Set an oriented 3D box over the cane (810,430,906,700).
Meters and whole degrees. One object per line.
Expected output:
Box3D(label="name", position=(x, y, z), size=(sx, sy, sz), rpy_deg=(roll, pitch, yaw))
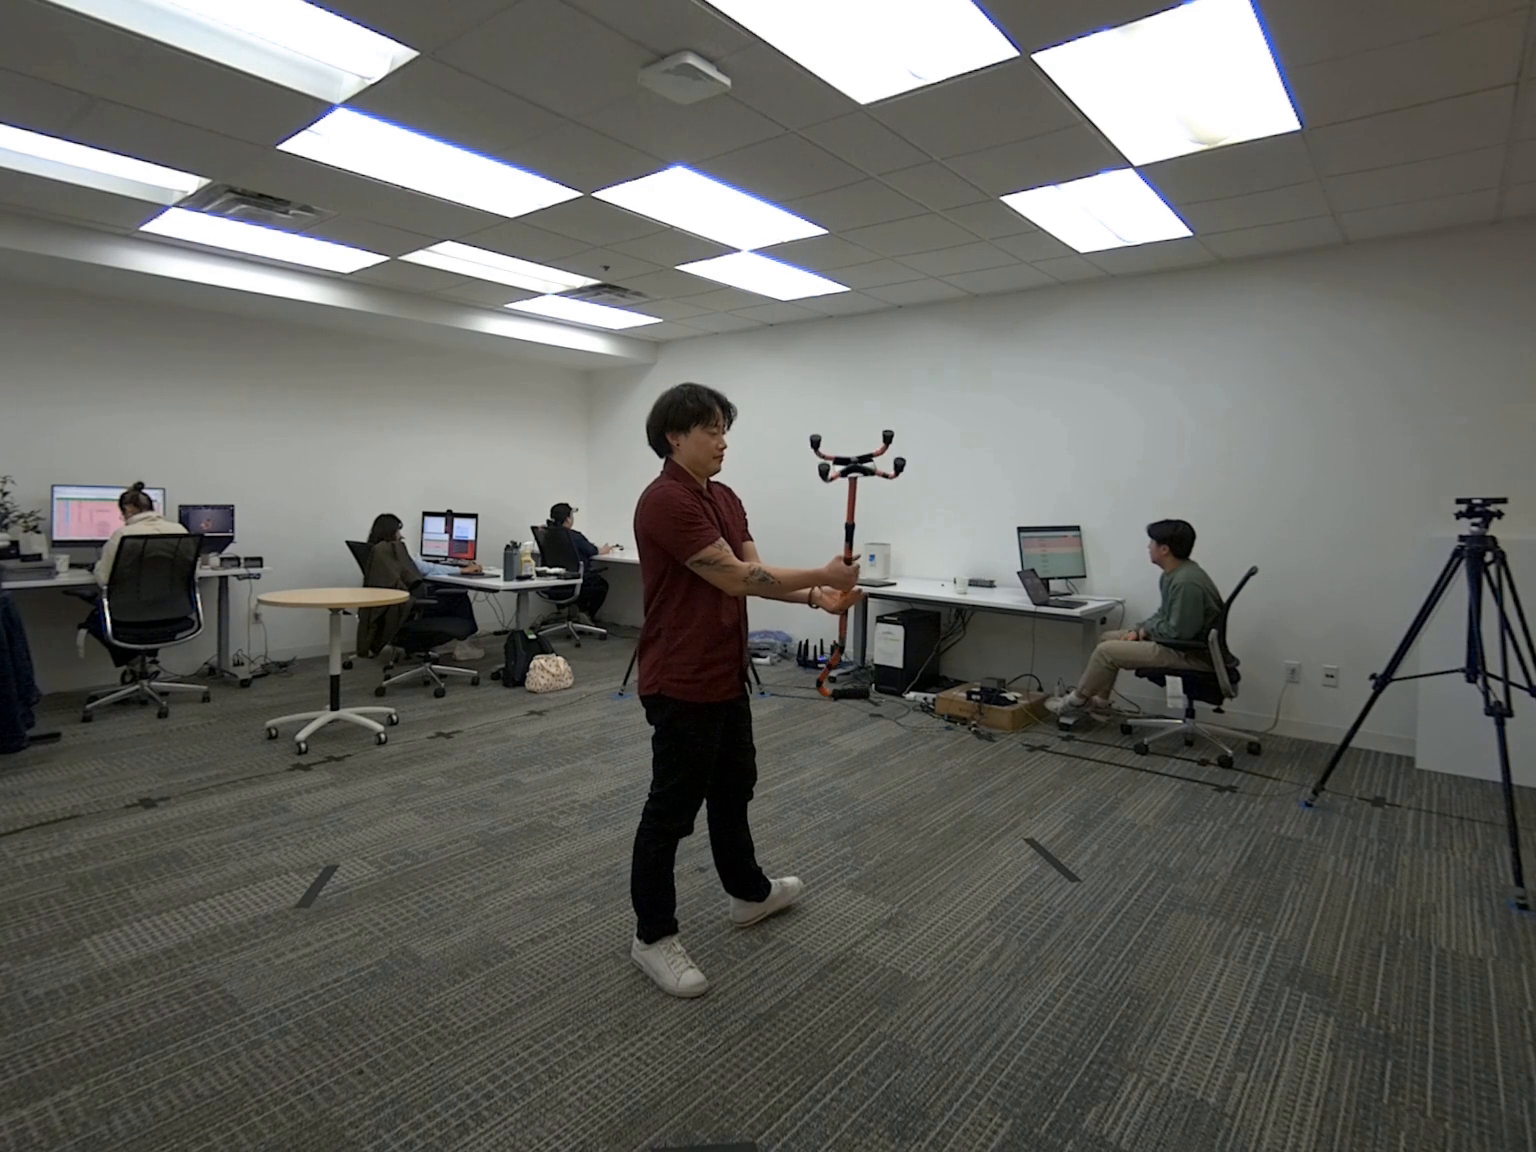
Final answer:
Box3D(label="cane", position=(0.208, 0.040, 2.289), size=(0.207, 0.882, 0.156), rpy_deg=(0, 39, 0))
